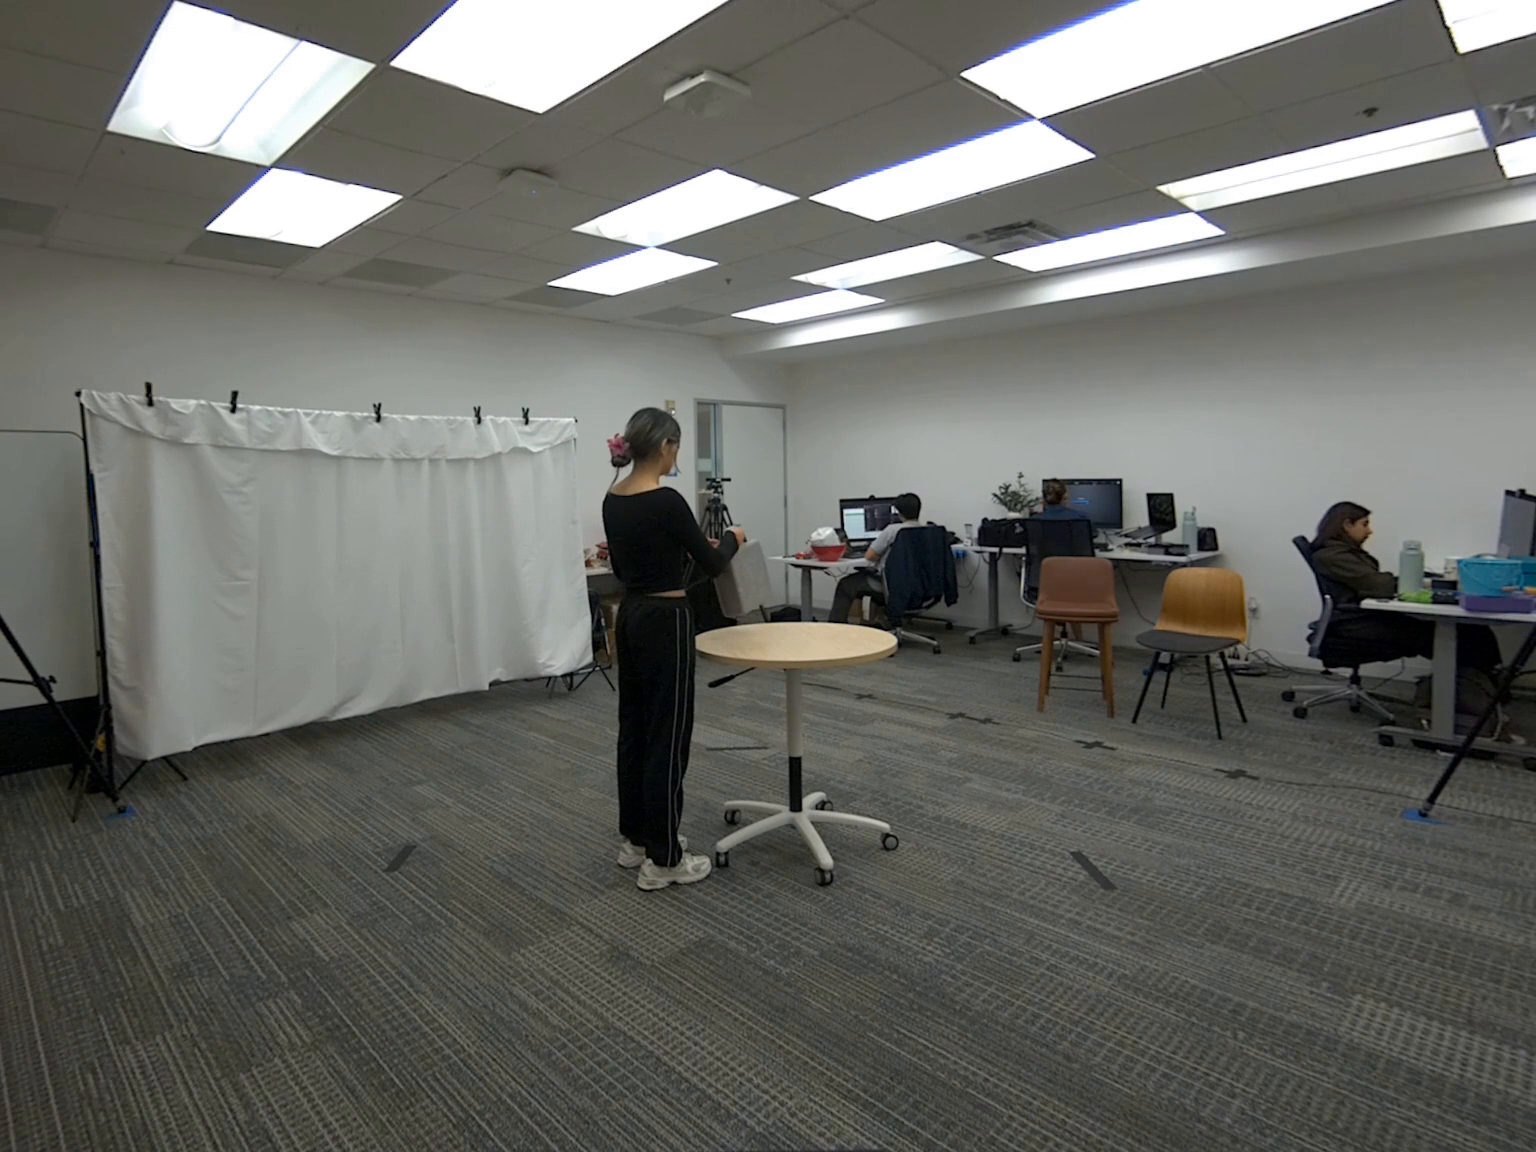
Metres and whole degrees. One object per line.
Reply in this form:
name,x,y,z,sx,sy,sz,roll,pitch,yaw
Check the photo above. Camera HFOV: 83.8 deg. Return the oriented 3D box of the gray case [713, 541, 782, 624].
gray case,-0.098,0.004,3.306,0.107,0.258,0.254,-7,13,30
